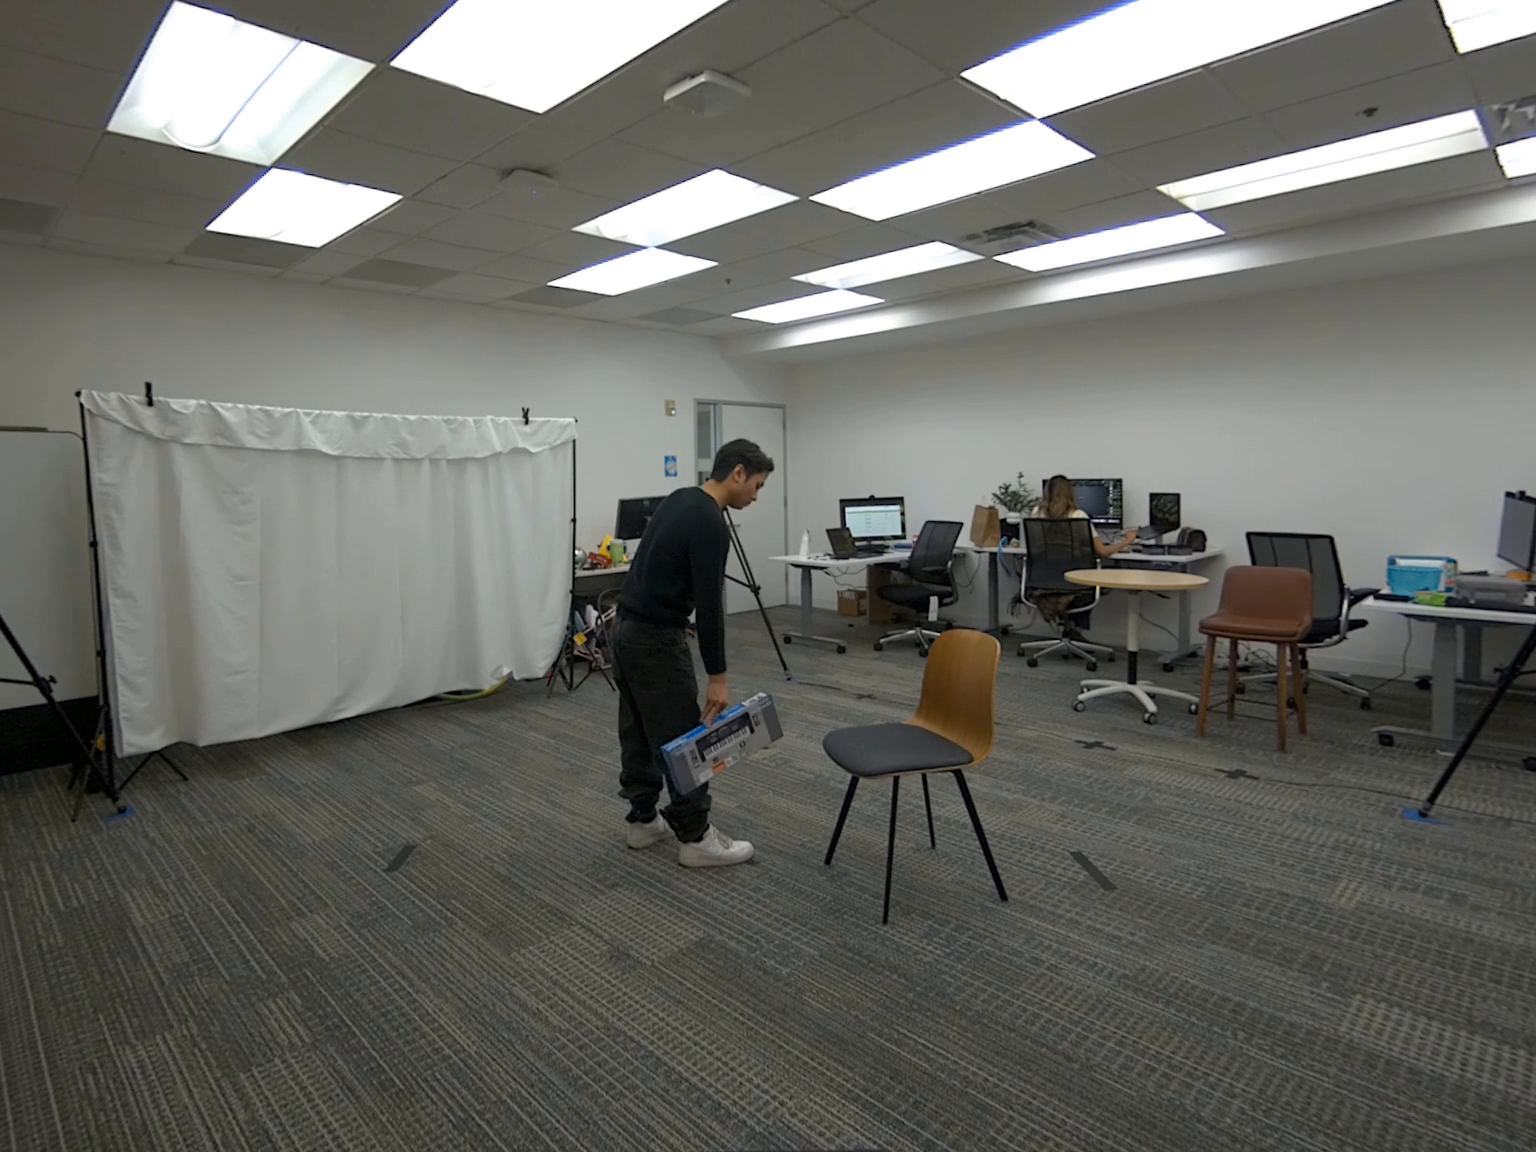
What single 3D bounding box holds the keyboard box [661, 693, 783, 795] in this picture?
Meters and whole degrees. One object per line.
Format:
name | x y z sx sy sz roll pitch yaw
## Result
keyboard box | -0.152 0.583 3.011 0.432 0.173 0.061 -26 15 -26
